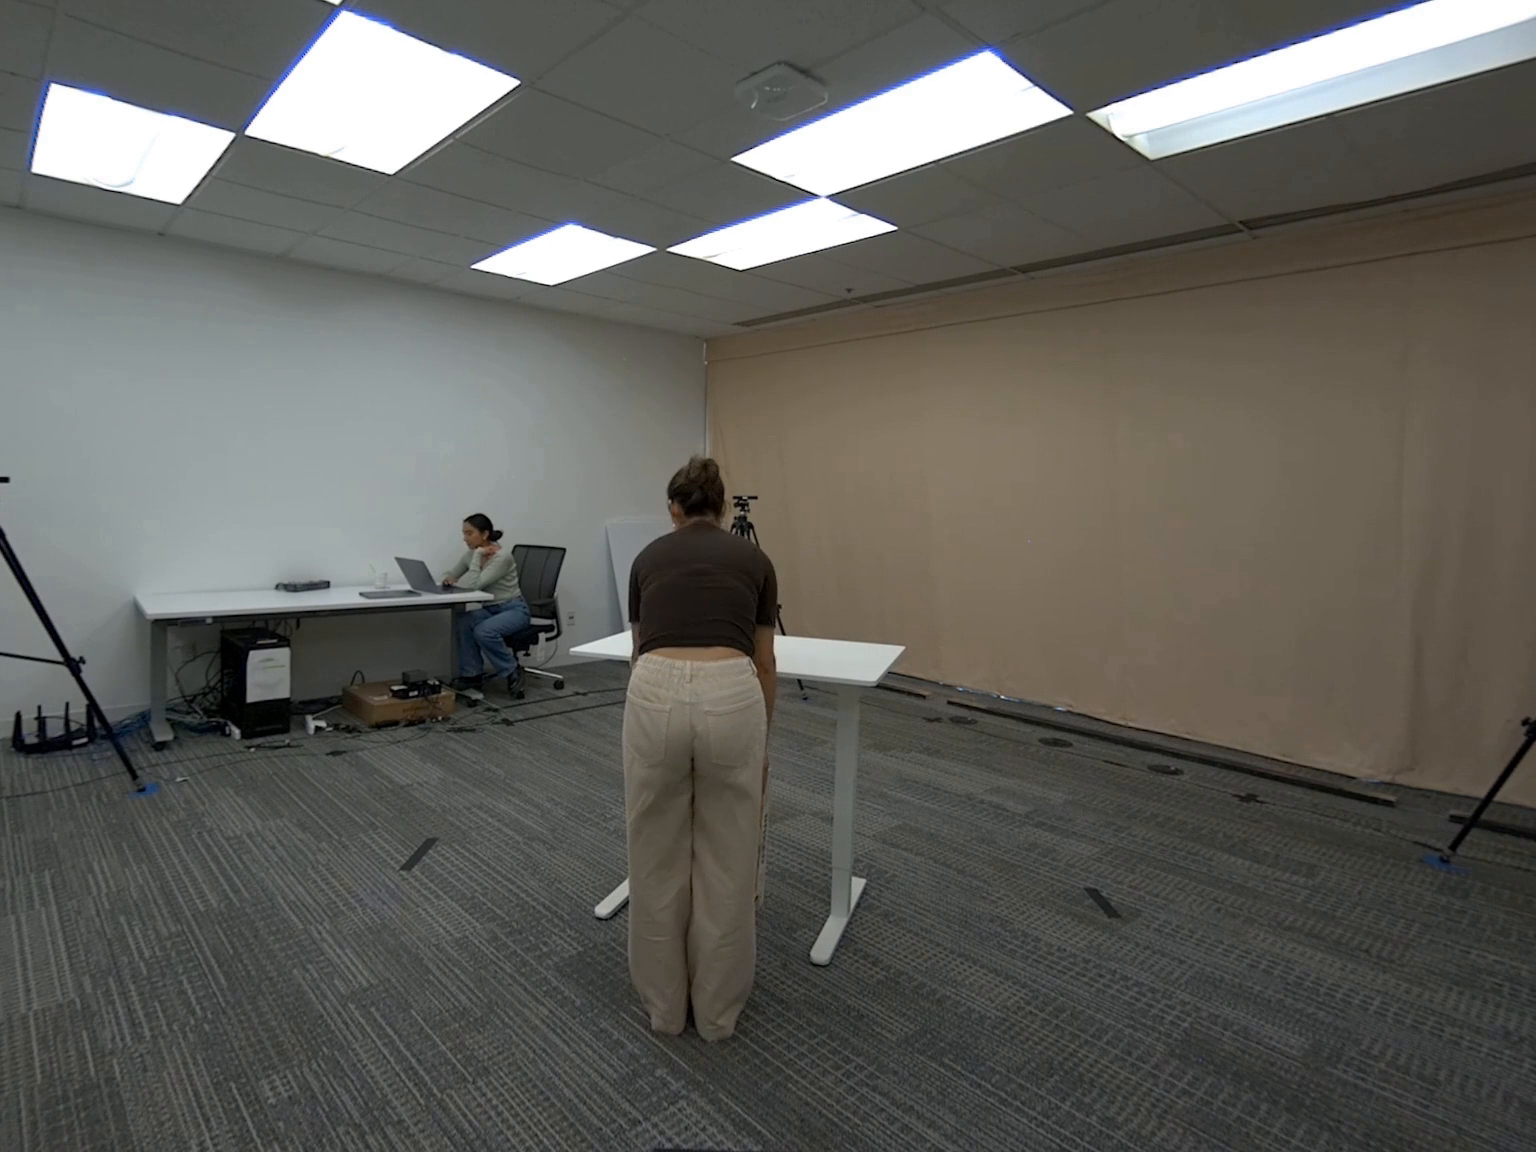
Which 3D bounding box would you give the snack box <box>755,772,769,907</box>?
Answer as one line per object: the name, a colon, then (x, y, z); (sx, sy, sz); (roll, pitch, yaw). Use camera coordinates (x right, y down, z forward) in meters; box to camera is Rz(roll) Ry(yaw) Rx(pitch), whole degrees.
snack box: (-0.187, 0.784, 2.490); (0.344, 0.406, 0.203); (3, -4, 13)
